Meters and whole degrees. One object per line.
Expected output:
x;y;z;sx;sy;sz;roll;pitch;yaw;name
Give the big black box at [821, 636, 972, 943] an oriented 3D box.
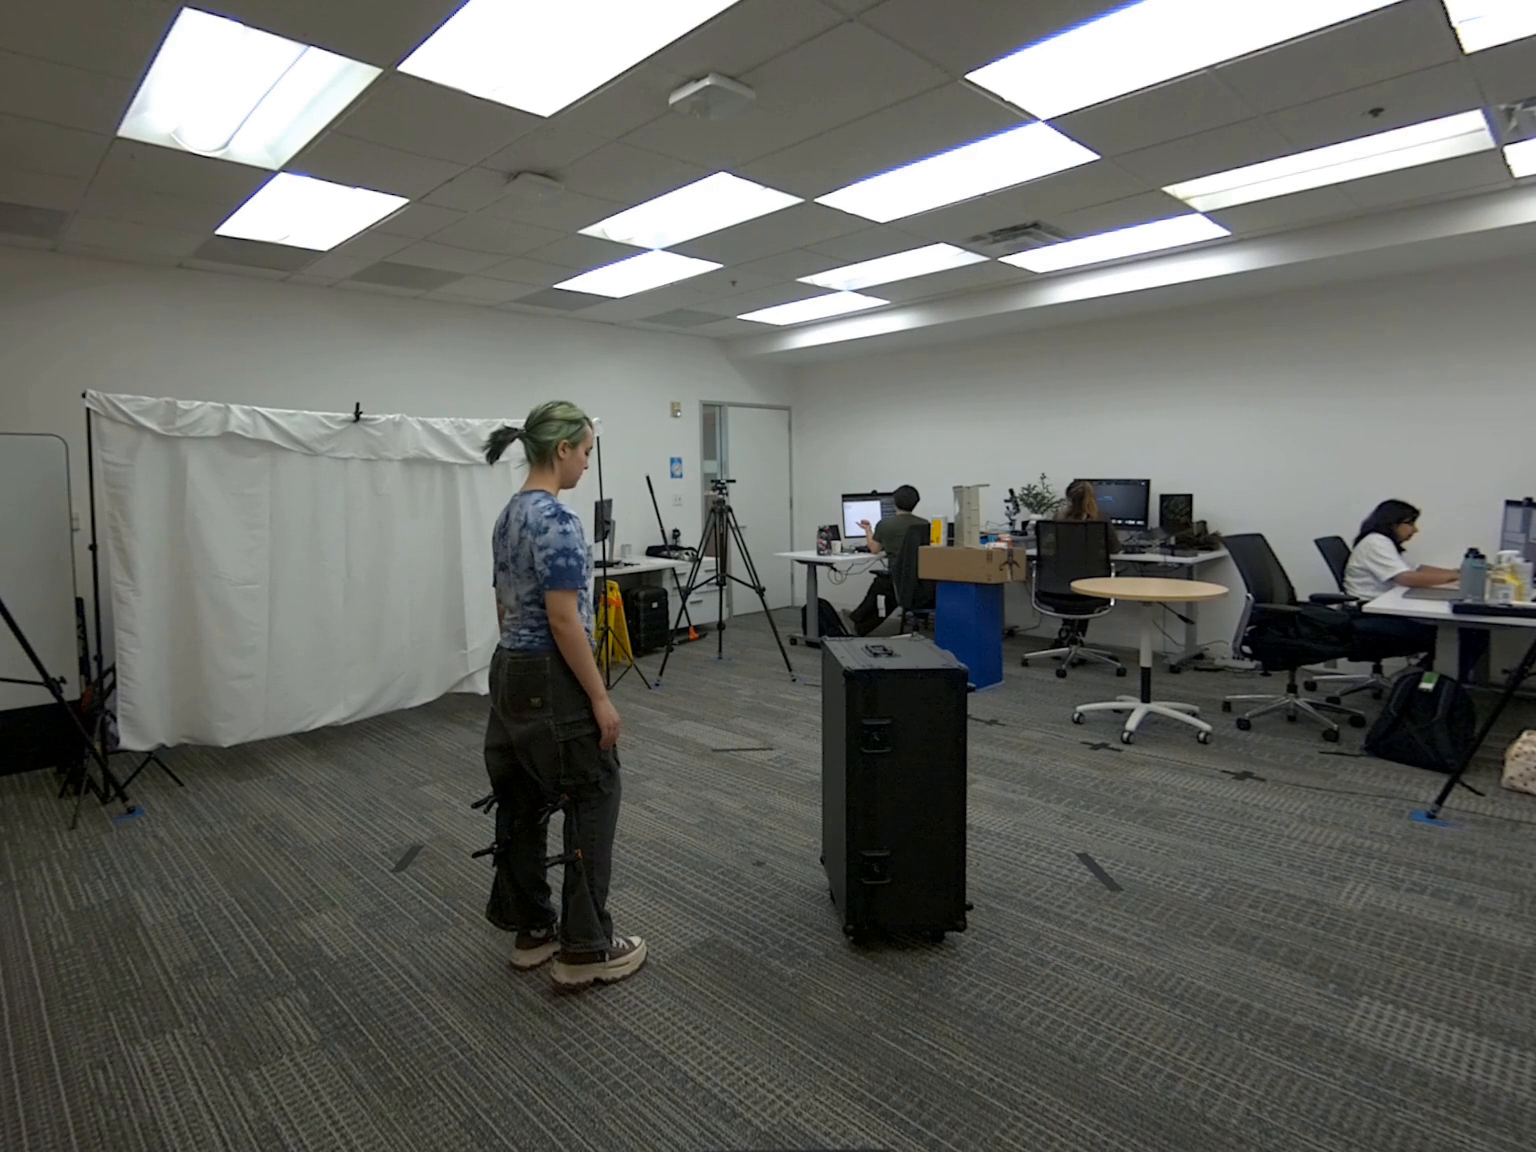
0.395;0.662;2.703;0.395;0.859;0.525;0;4;-5;big black box
